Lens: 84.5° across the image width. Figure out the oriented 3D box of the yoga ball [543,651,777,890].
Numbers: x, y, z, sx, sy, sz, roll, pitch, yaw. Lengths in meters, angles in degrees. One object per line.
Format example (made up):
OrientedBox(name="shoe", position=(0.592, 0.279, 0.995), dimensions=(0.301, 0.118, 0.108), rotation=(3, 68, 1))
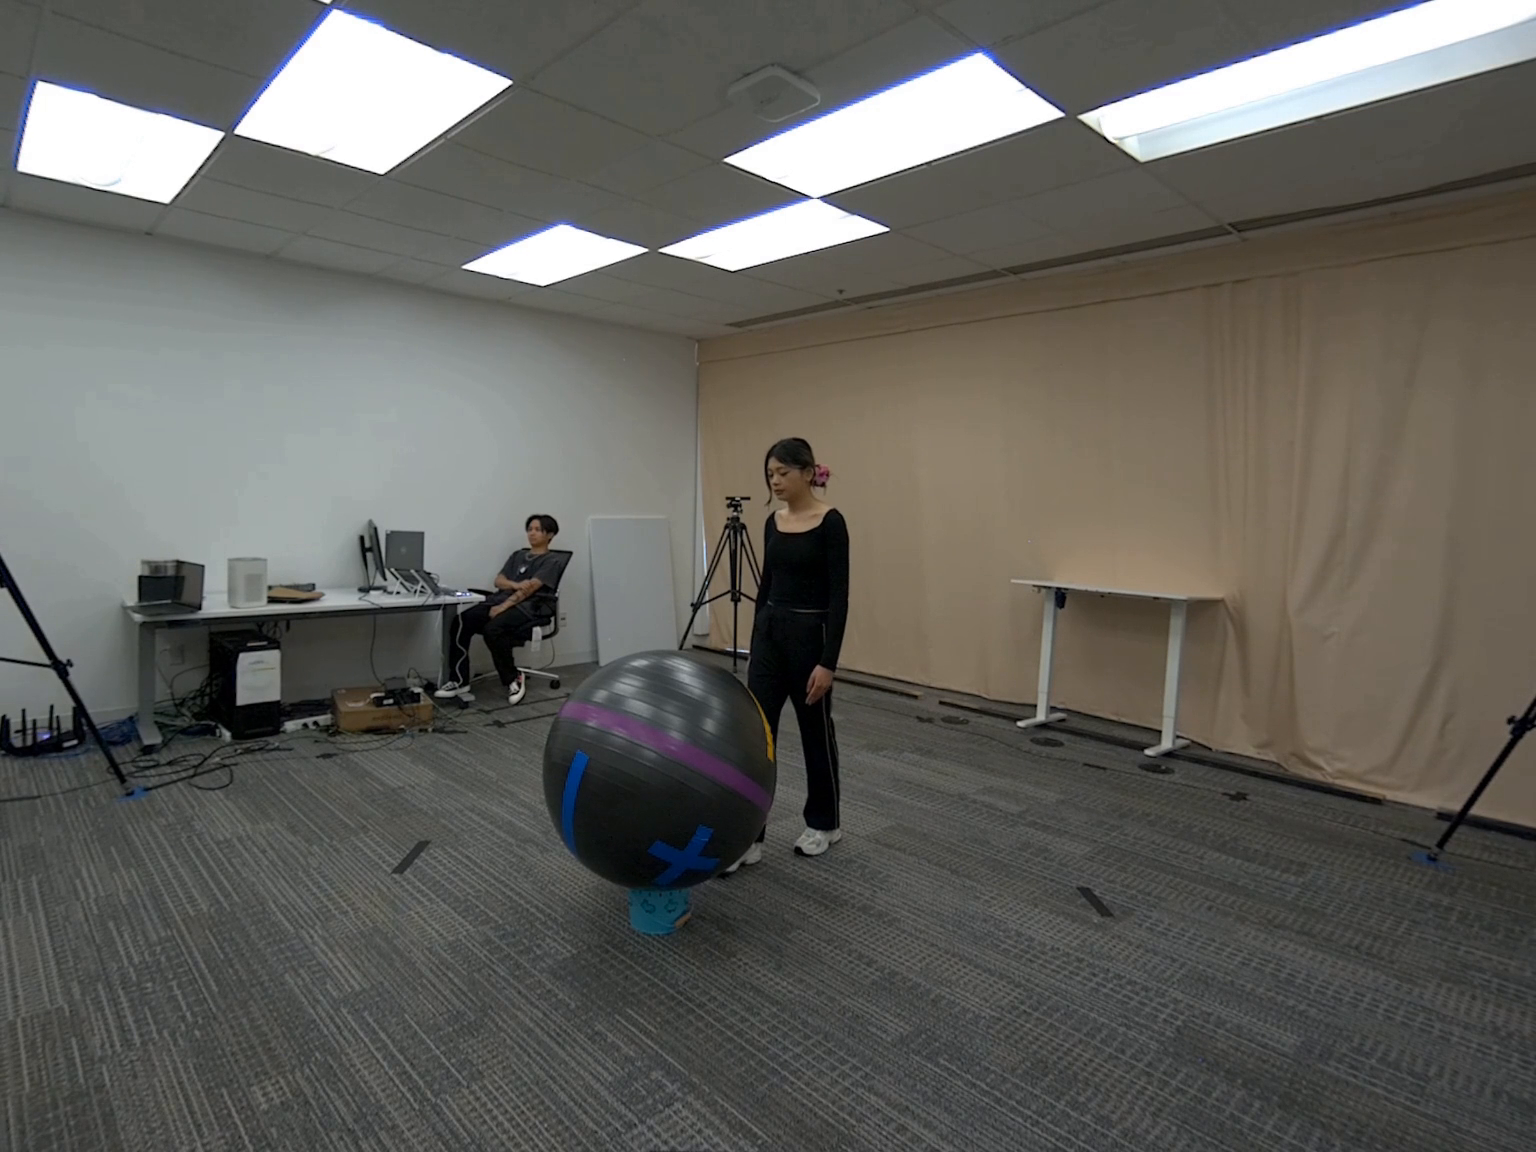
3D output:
OrientedBox(name="yoga ball", position=(-0.354, 0.630, 2.738), dimensions=(0.757, 0.756, 0.761), rotation=(1, 4, -1))
